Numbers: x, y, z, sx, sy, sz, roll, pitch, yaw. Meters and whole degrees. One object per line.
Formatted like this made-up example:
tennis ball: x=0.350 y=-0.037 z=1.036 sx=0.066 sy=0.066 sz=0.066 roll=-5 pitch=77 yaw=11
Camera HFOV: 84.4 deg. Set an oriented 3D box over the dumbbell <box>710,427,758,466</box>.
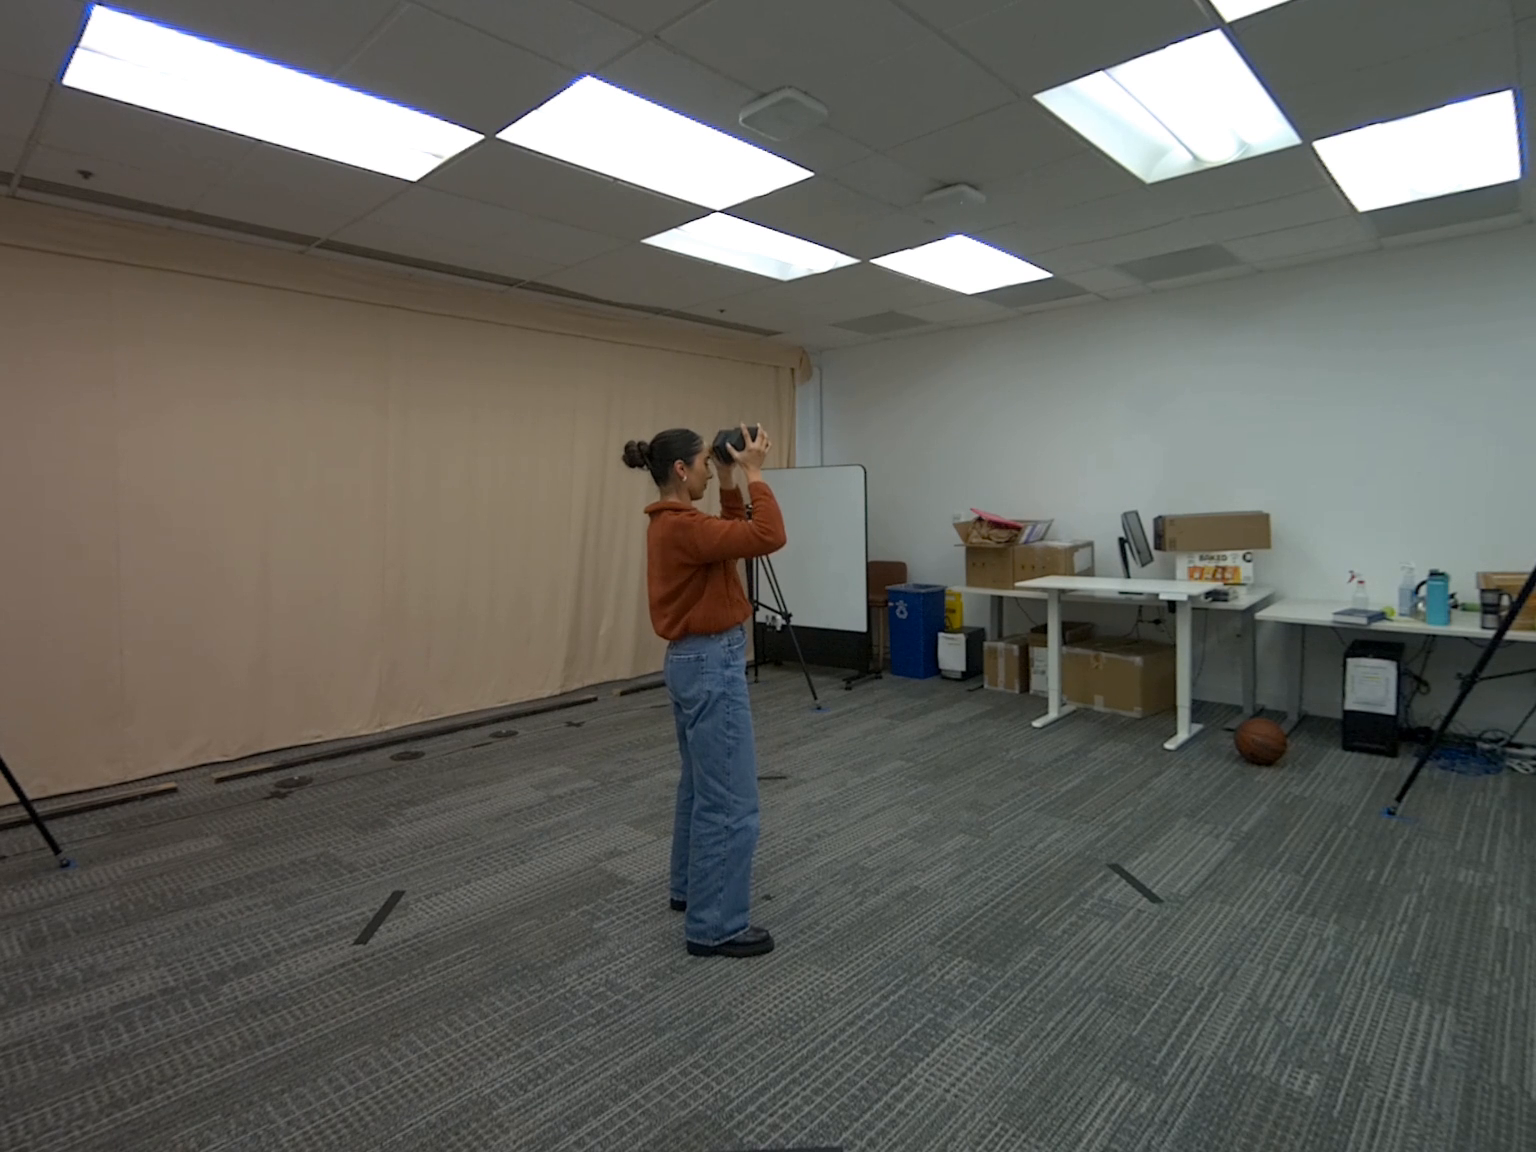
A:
dumbbell: x=-0.098 y=-0.424 z=2.729 sx=0.108 sy=0.121 sz=0.299 roll=-35 pitch=15 yaw=-9
